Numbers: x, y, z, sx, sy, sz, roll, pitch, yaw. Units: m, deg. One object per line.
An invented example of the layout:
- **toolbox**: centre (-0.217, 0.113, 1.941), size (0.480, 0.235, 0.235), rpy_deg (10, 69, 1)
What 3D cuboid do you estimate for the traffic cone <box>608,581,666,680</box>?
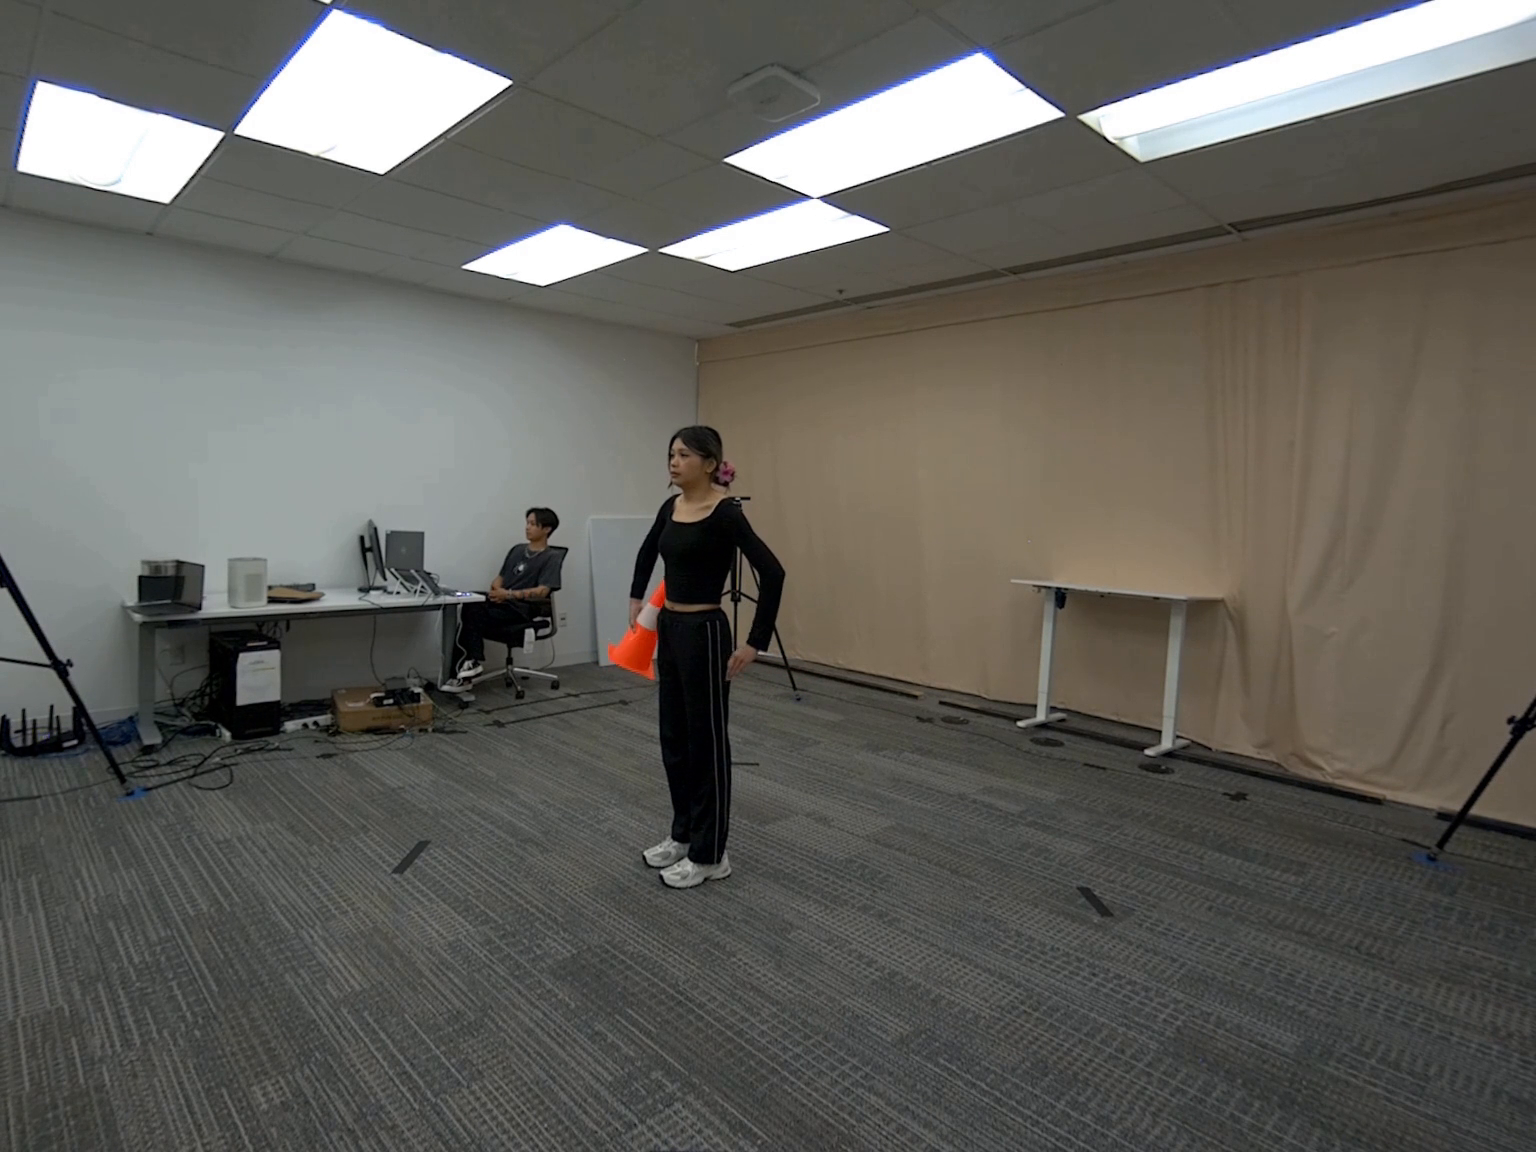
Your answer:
- **traffic cone**: centre (-0.472, 0.175, 3.336), size (0.200, 0.382, 0.209), rpy_deg (22, 8, -17)
